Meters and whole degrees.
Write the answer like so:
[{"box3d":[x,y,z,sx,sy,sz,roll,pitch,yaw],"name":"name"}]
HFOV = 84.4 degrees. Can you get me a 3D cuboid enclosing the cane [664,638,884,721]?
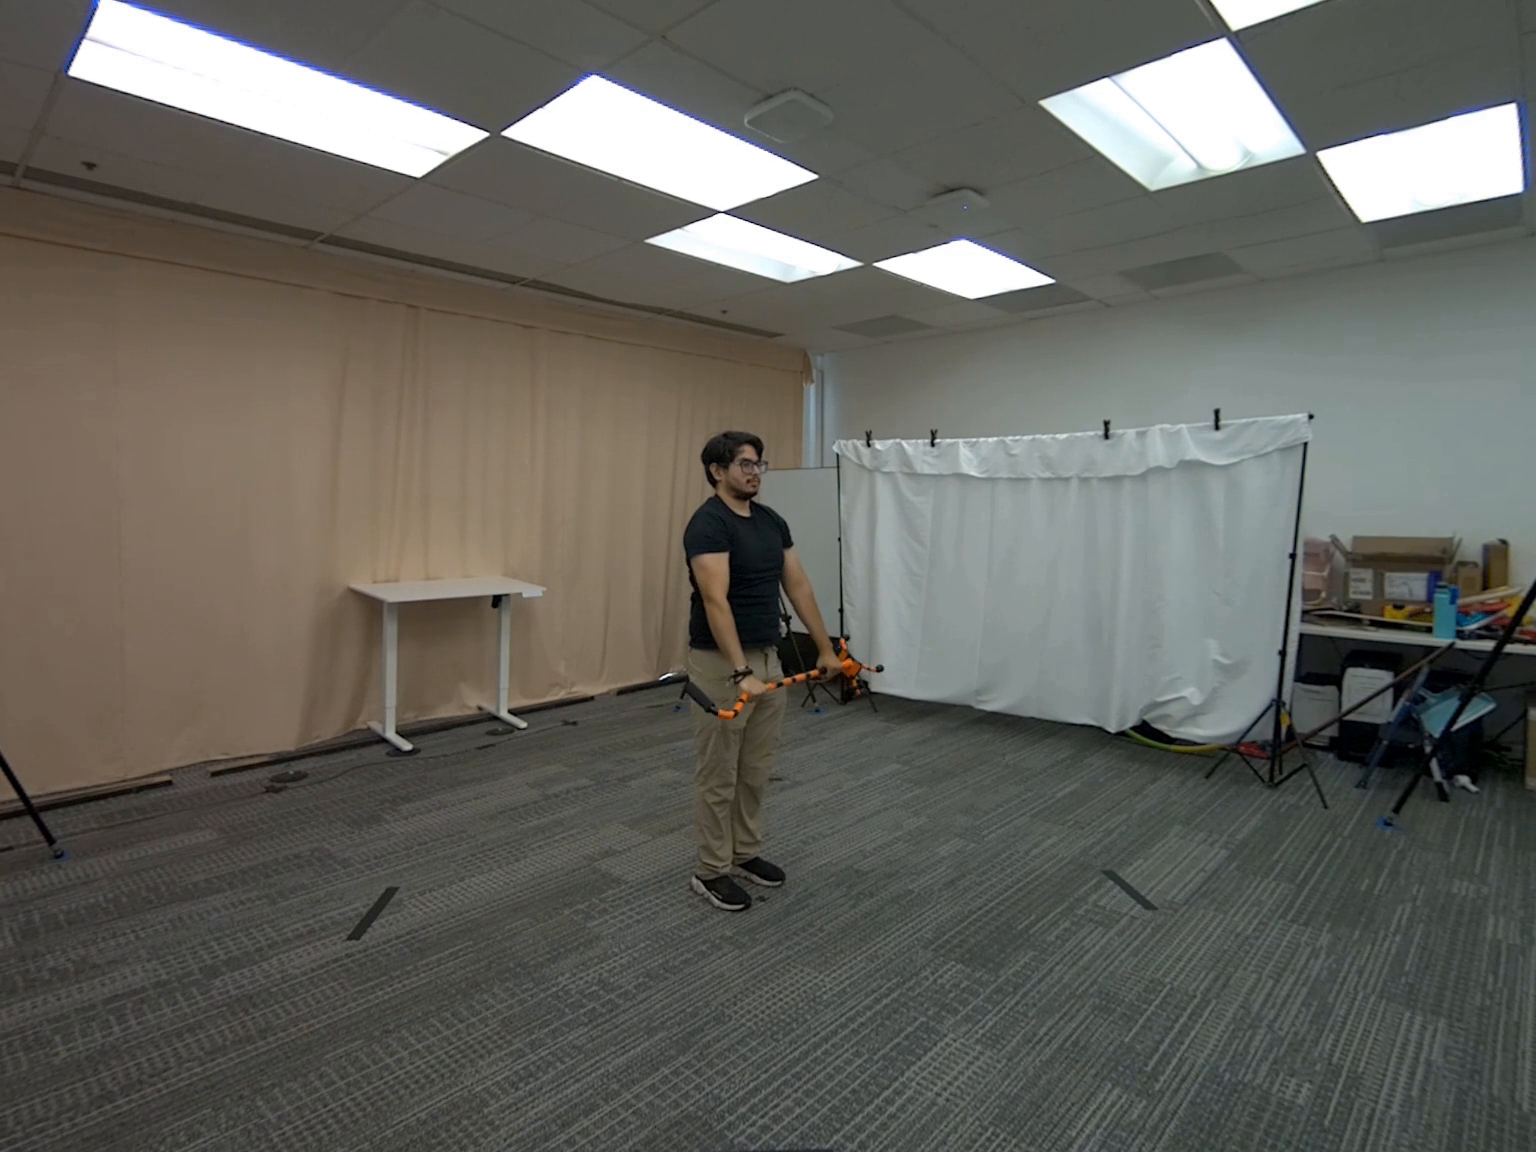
[{"box3d":[0.079,0.367,2.852,0.213,0.151,0.881,42,26,28],"name":"cane"}]
